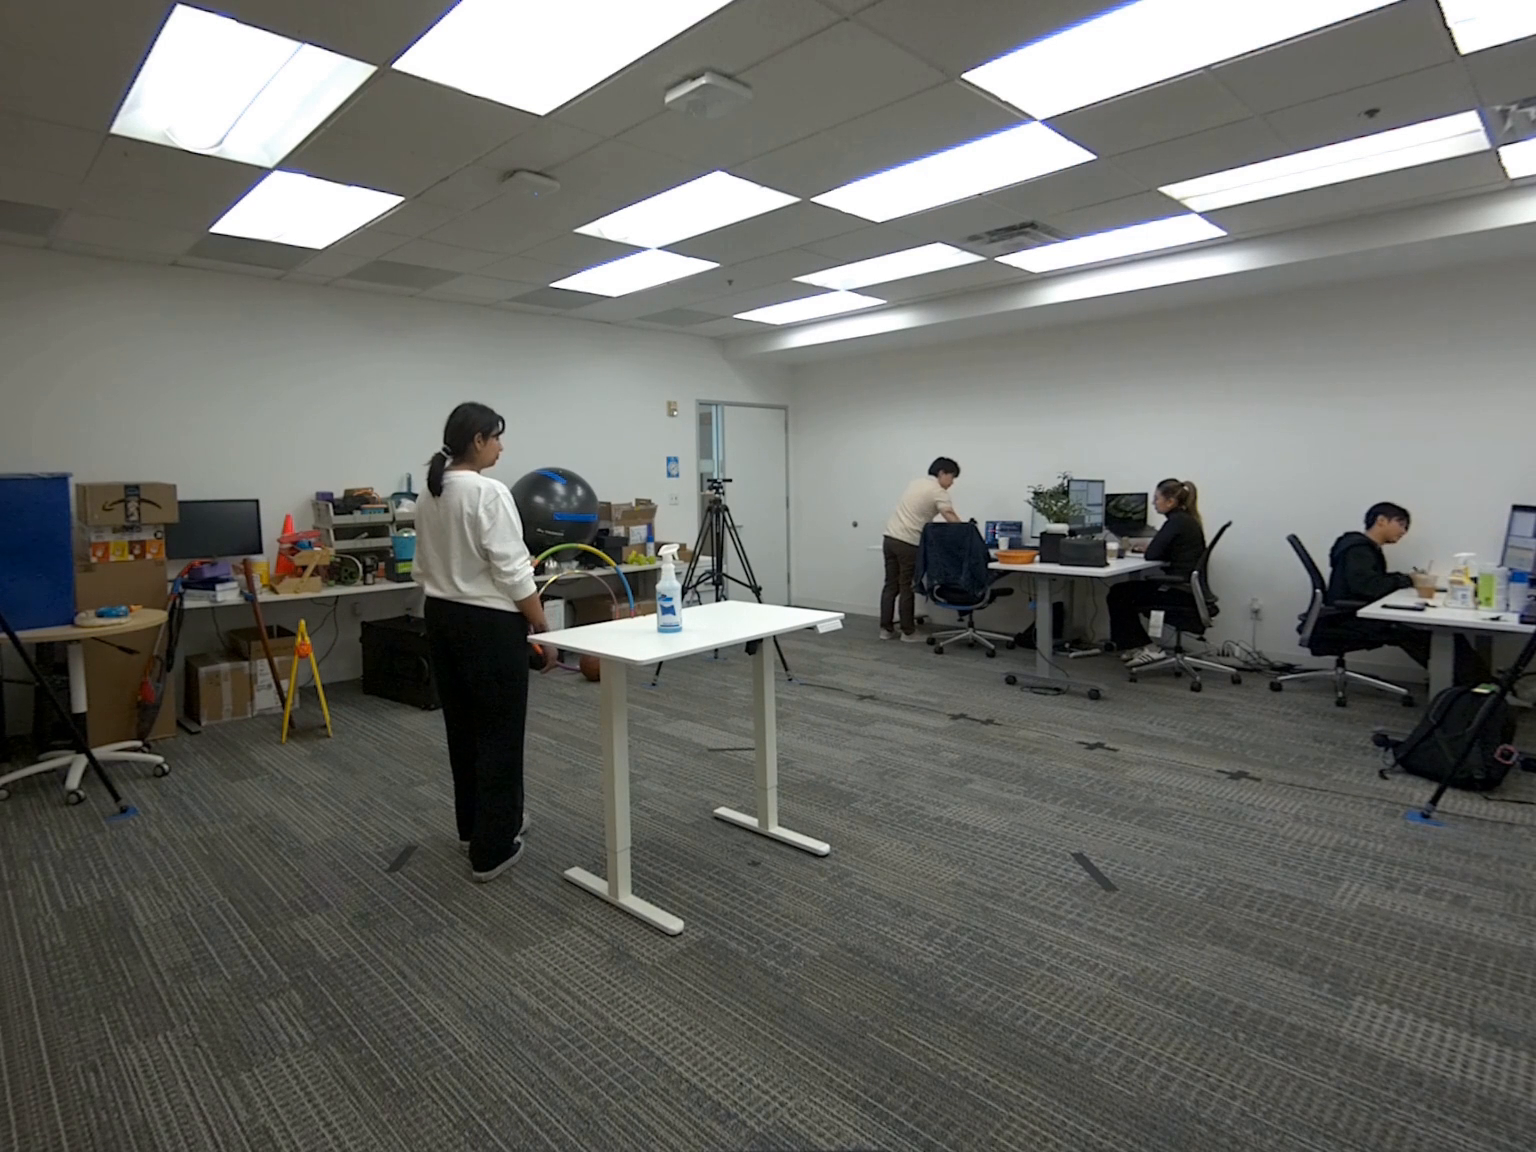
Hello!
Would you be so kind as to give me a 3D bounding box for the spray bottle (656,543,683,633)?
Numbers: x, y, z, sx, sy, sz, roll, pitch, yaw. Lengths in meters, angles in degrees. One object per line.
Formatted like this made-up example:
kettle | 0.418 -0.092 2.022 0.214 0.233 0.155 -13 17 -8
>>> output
spray bottle | -0.342 0.043 2.923 0.088 0.296 0.089 -2 3 -25
